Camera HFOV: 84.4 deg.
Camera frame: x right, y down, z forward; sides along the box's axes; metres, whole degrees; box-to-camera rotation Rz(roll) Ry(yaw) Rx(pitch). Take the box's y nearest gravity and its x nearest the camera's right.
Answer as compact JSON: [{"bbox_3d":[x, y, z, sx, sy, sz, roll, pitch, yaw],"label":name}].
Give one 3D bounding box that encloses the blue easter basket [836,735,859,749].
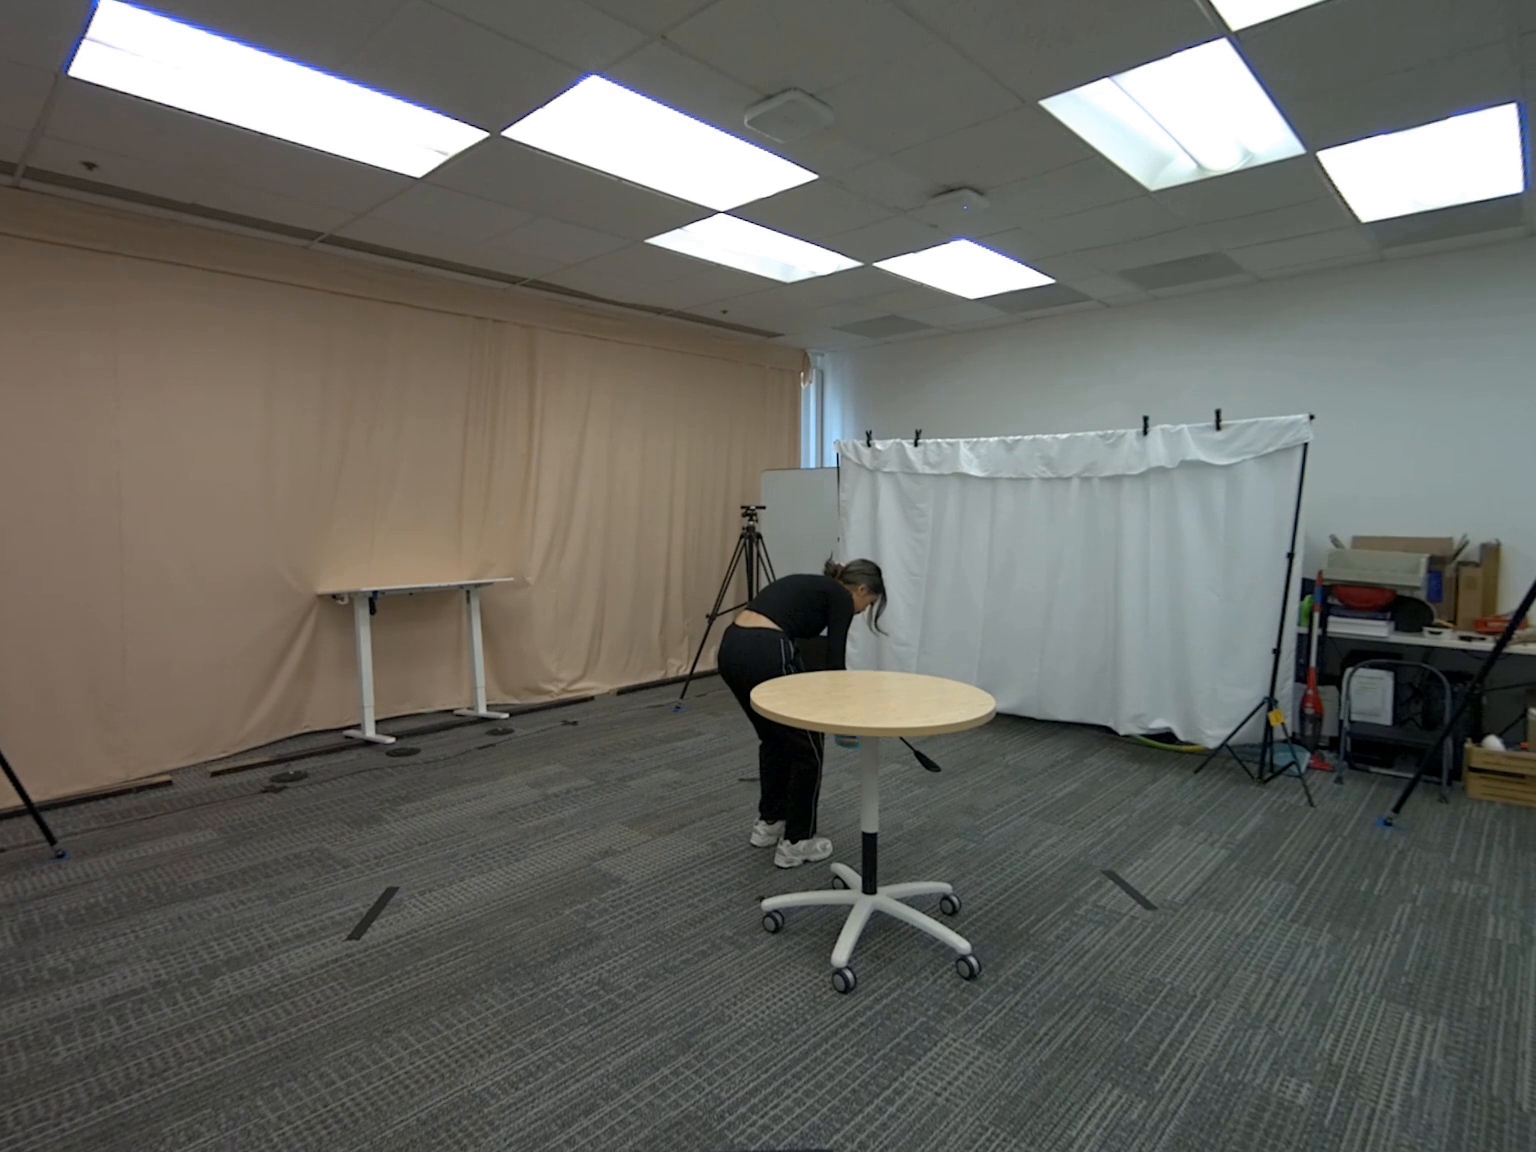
[{"bbox_3d":[0.376,0.645,3.565,0.243,0.156,0.244,3,2,-2],"label":"blue easter basket"}]
